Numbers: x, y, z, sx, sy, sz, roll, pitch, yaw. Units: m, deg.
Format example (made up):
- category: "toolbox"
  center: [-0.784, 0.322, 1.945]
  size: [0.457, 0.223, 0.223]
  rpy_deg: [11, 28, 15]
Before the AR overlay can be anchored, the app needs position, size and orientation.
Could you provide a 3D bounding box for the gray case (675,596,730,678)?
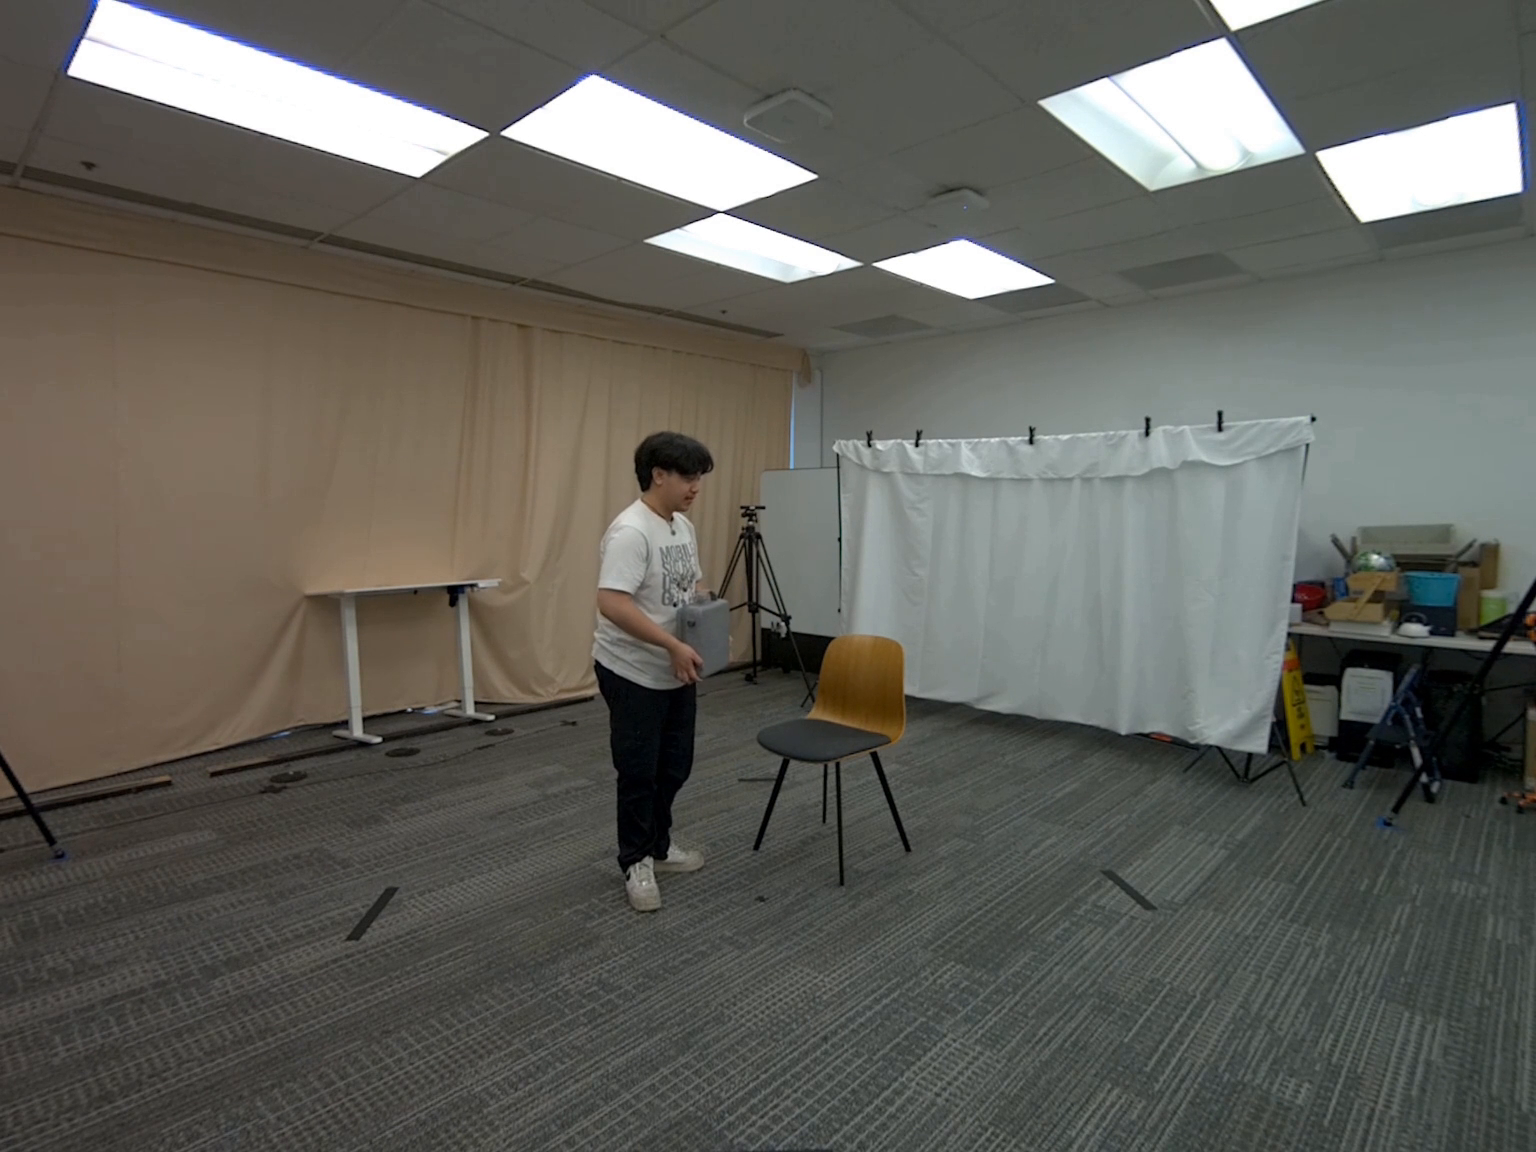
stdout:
- category: "gray case"
  center: [-0.215, 0.211, 2.947]
  size: [0.107, 0.259, 0.252]
  rpy_deg: [4, 10, 22]
